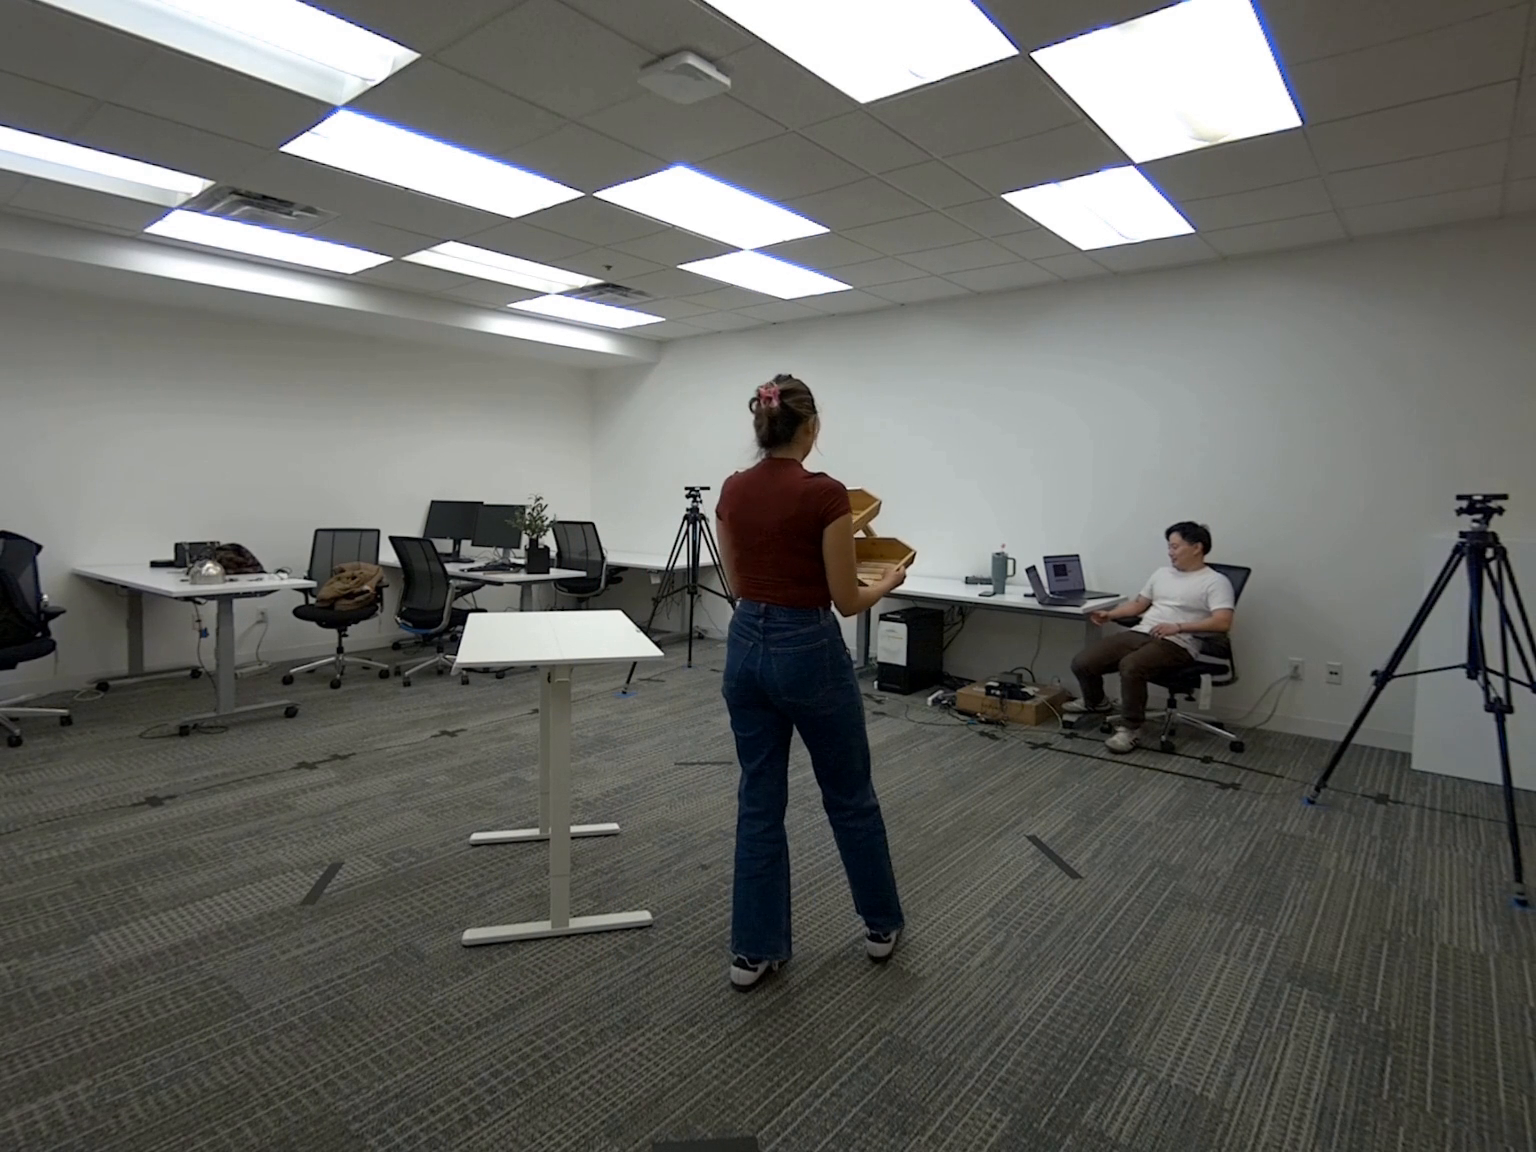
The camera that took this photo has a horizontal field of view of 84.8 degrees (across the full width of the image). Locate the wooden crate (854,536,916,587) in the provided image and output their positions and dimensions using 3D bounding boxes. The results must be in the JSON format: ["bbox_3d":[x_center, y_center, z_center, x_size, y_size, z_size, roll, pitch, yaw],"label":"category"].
[{"bbox_3d":[0.248,-0.109,2.668,0.312,0.268,0.321,2,24,38],"label":"wooden crate"}]
